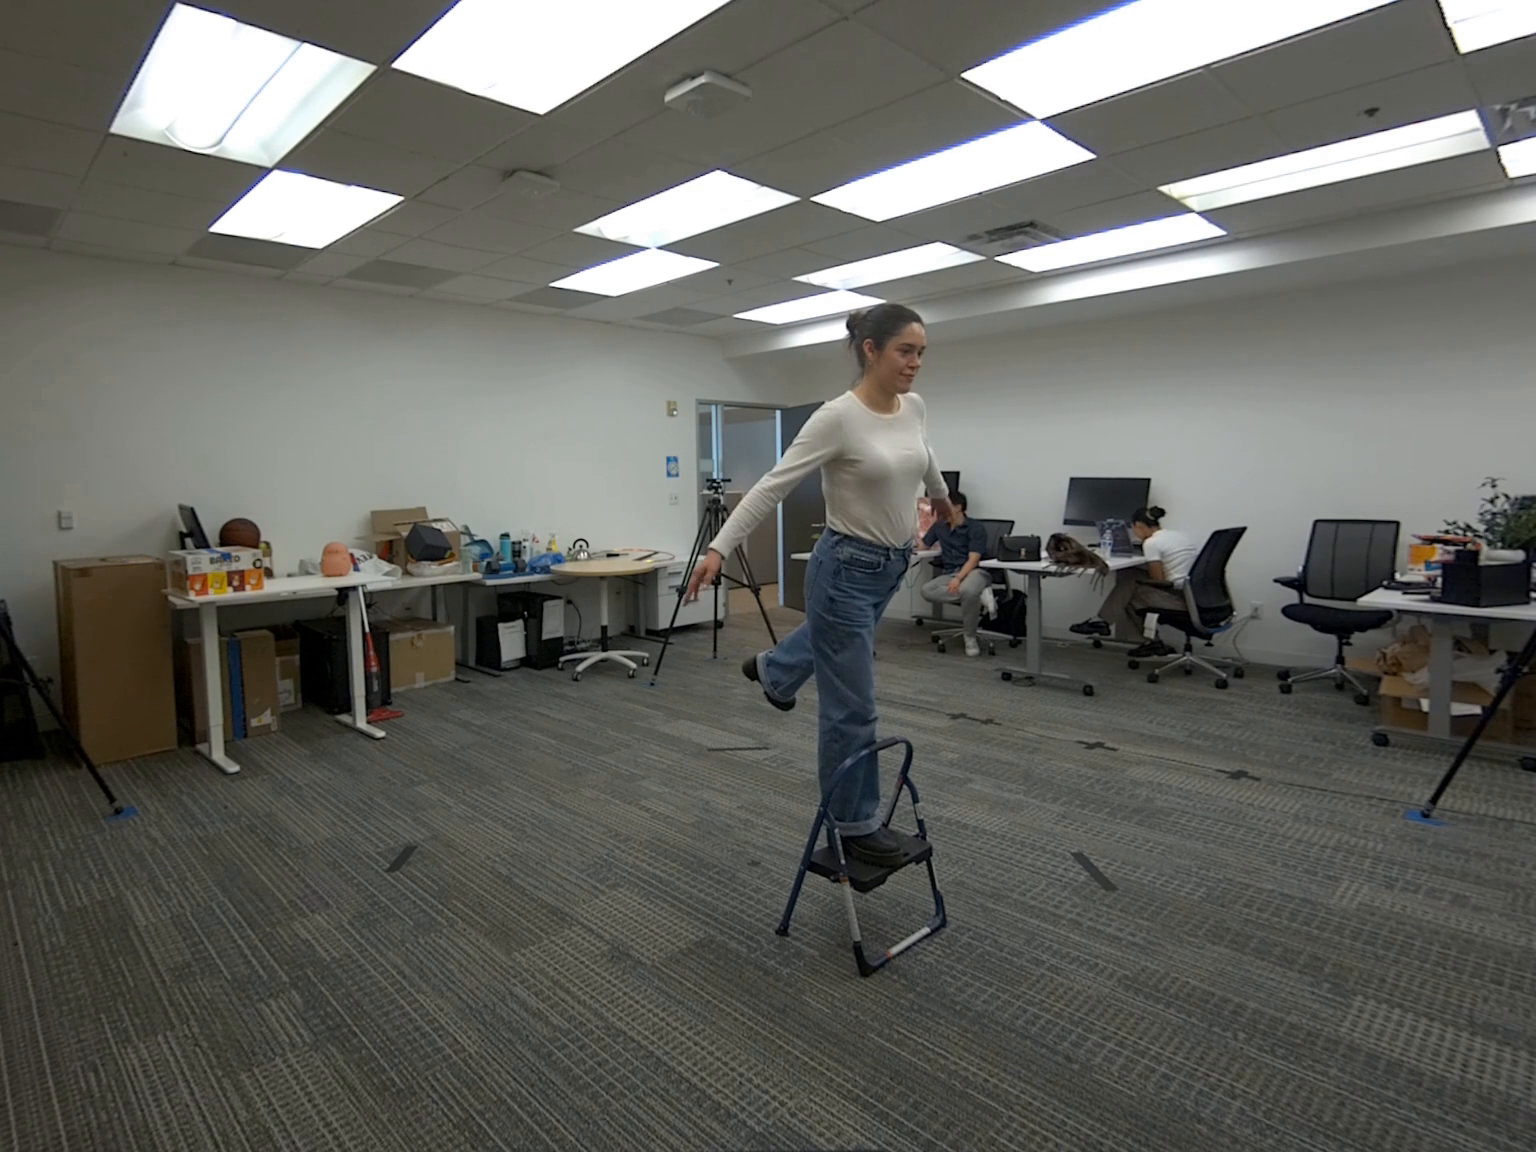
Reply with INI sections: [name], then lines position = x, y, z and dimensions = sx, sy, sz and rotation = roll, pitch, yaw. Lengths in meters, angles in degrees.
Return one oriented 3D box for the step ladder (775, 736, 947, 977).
[step ladder]
position = 0.292, 0.792, 2.625
dimensions = 0.360, 0.603, 0.419
rotation = 4, 7, 45
